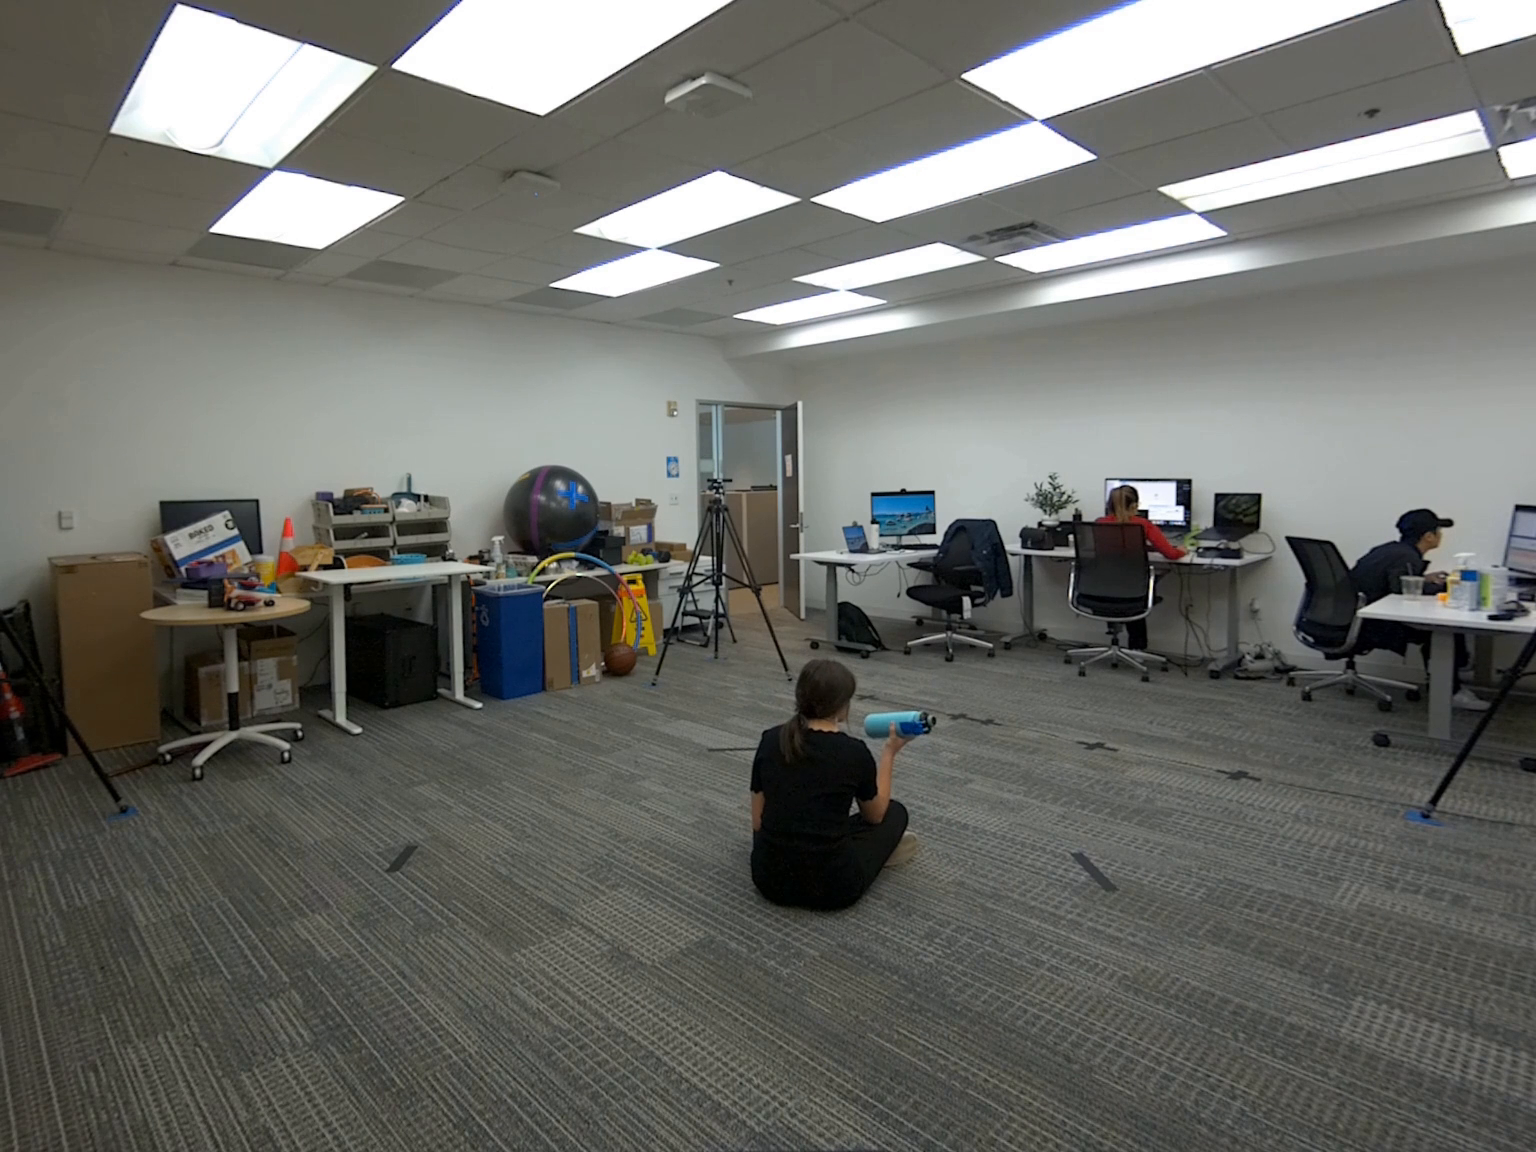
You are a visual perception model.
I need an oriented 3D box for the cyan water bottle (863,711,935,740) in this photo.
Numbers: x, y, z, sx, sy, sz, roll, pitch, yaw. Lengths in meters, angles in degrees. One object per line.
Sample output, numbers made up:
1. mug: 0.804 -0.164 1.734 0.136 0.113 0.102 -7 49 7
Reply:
1. cyan water bottle: 0.484 0.542 3.120 0.090 0.093 0.289 -5 -7 -41
